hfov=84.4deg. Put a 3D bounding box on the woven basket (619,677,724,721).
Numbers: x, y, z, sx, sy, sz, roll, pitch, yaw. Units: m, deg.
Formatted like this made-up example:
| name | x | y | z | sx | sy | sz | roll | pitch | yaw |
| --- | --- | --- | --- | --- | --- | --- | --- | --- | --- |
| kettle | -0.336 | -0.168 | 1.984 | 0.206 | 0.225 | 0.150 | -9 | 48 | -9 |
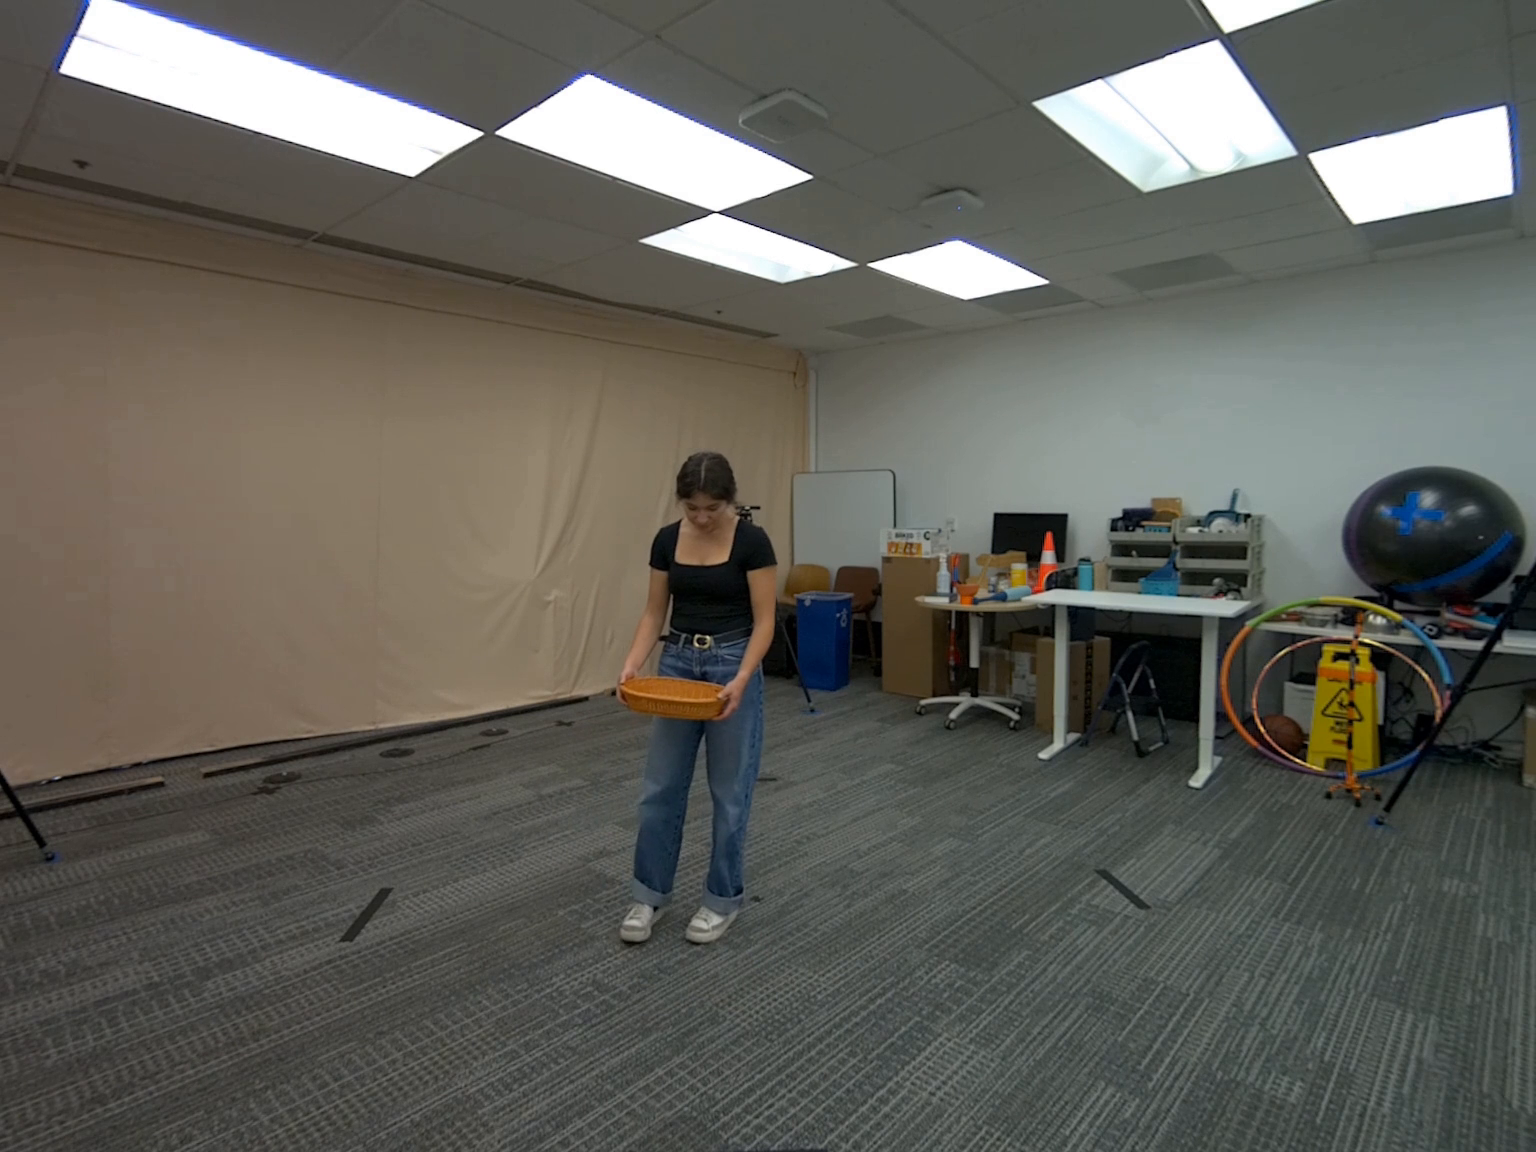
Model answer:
| name | x | y | z | sx | sy | sz | roll | pitch | yaw |
| --- | --- | --- | --- | --- | --- | --- | --- | --- | --- |
| woven basket | -0.286 | 0.376 | 2.581 | 0.359 | 0.073 | 0.247 | 6 | 8 | 24 |
